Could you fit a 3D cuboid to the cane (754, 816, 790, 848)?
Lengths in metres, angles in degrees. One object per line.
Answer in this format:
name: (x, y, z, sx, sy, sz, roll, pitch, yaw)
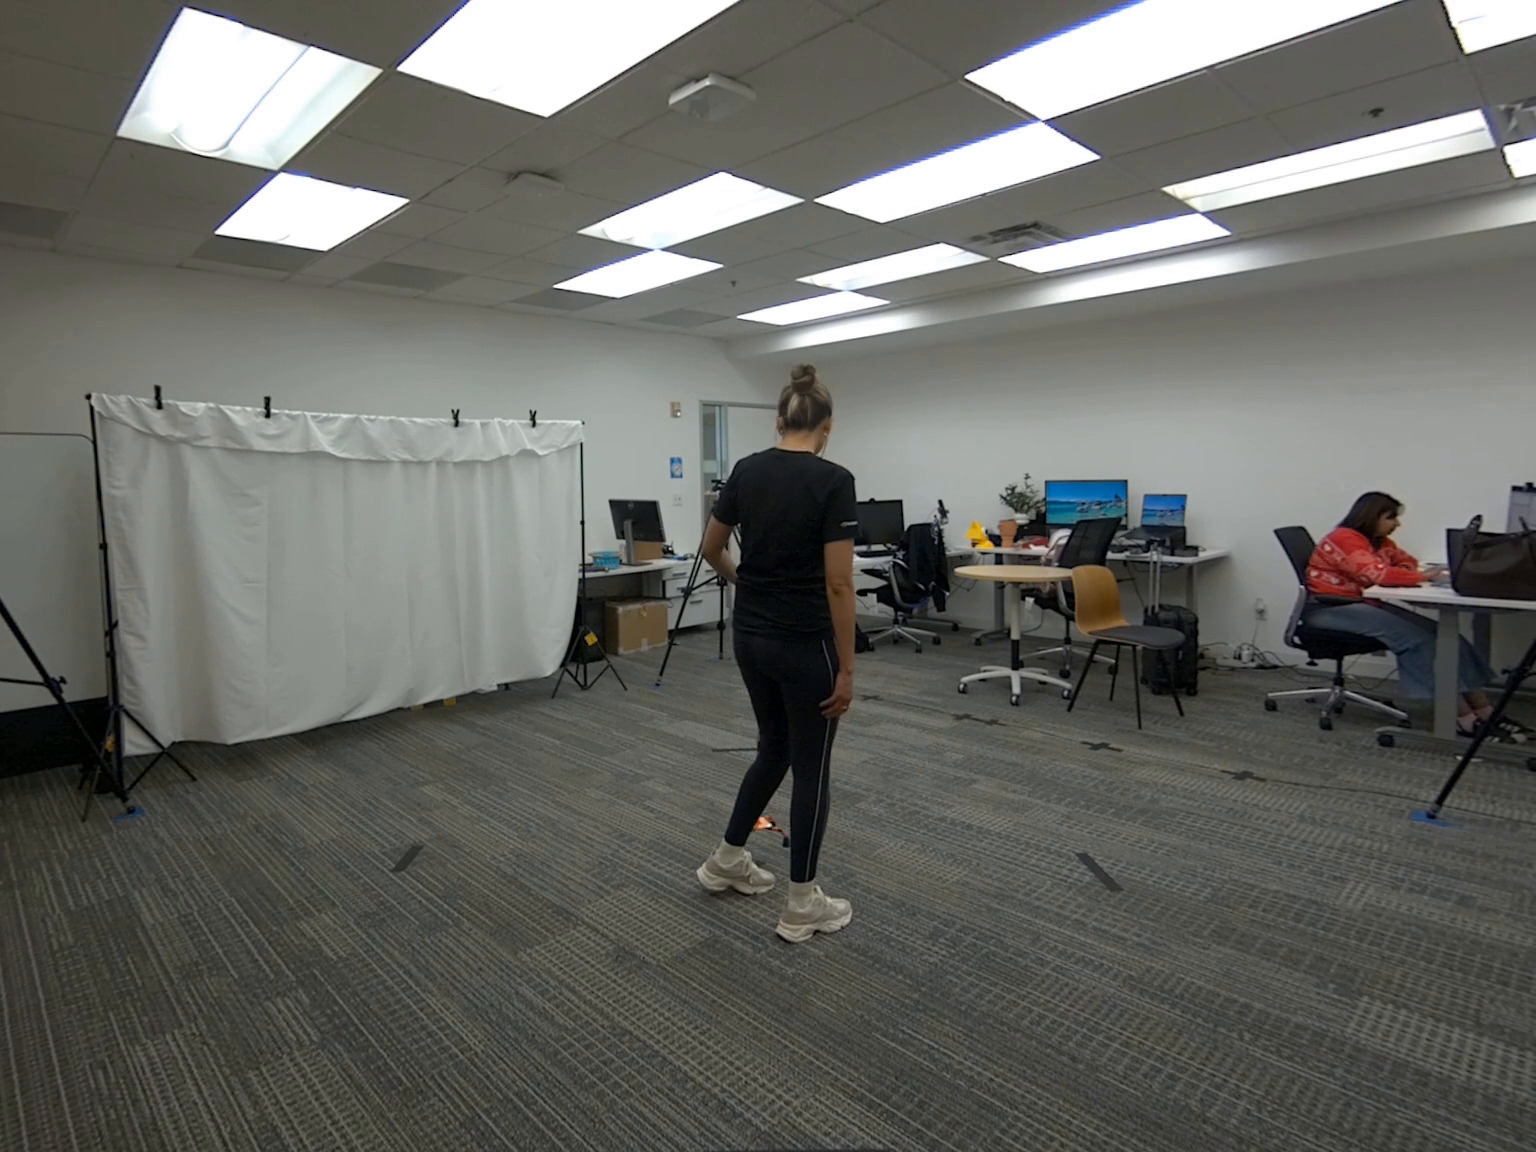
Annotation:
cane: (-0.008, 0.526, 3.034, 0.202, 0.901, 0.156, -1, 9, -23)
